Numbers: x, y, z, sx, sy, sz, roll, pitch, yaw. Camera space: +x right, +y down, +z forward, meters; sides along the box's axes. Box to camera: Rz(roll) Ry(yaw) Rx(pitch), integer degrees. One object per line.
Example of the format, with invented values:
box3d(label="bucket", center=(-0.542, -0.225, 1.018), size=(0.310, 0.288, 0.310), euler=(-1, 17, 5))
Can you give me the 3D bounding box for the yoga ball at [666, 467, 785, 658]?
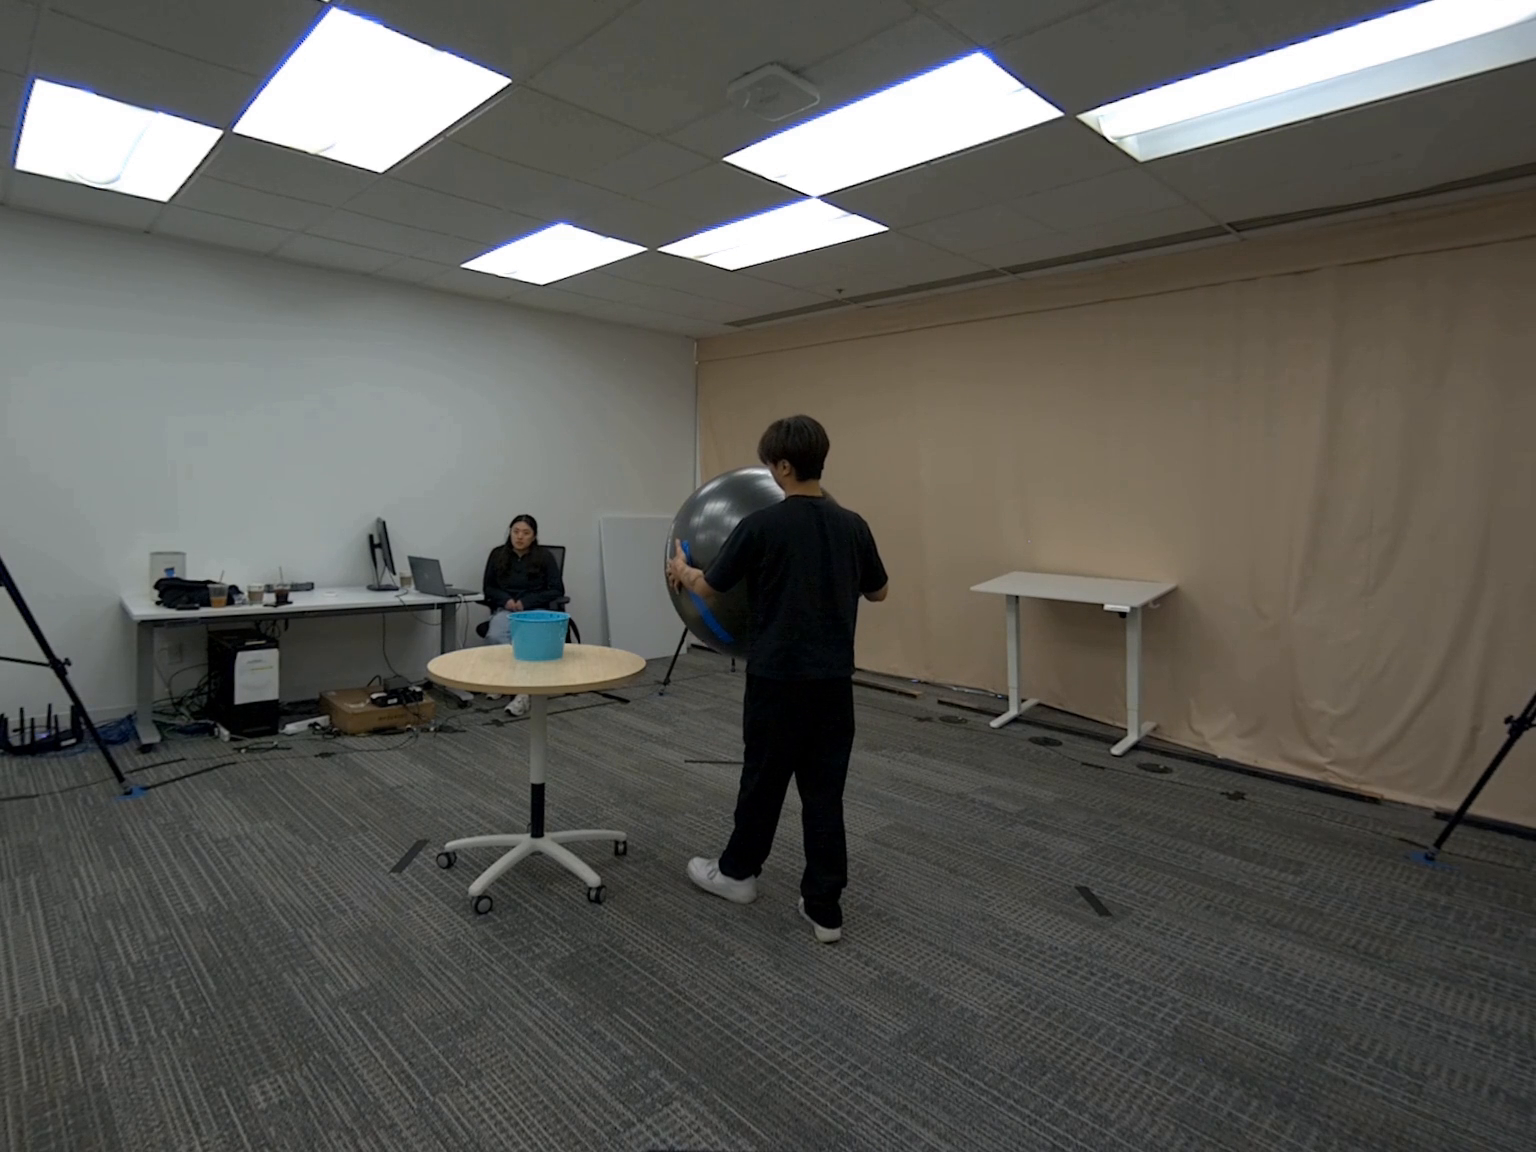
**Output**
box3d(label="yoga ball", center=(-0.026, -0.044, 3.278), size=(0.757, 0.756, 0.761), euler=(1, 4, -1))
